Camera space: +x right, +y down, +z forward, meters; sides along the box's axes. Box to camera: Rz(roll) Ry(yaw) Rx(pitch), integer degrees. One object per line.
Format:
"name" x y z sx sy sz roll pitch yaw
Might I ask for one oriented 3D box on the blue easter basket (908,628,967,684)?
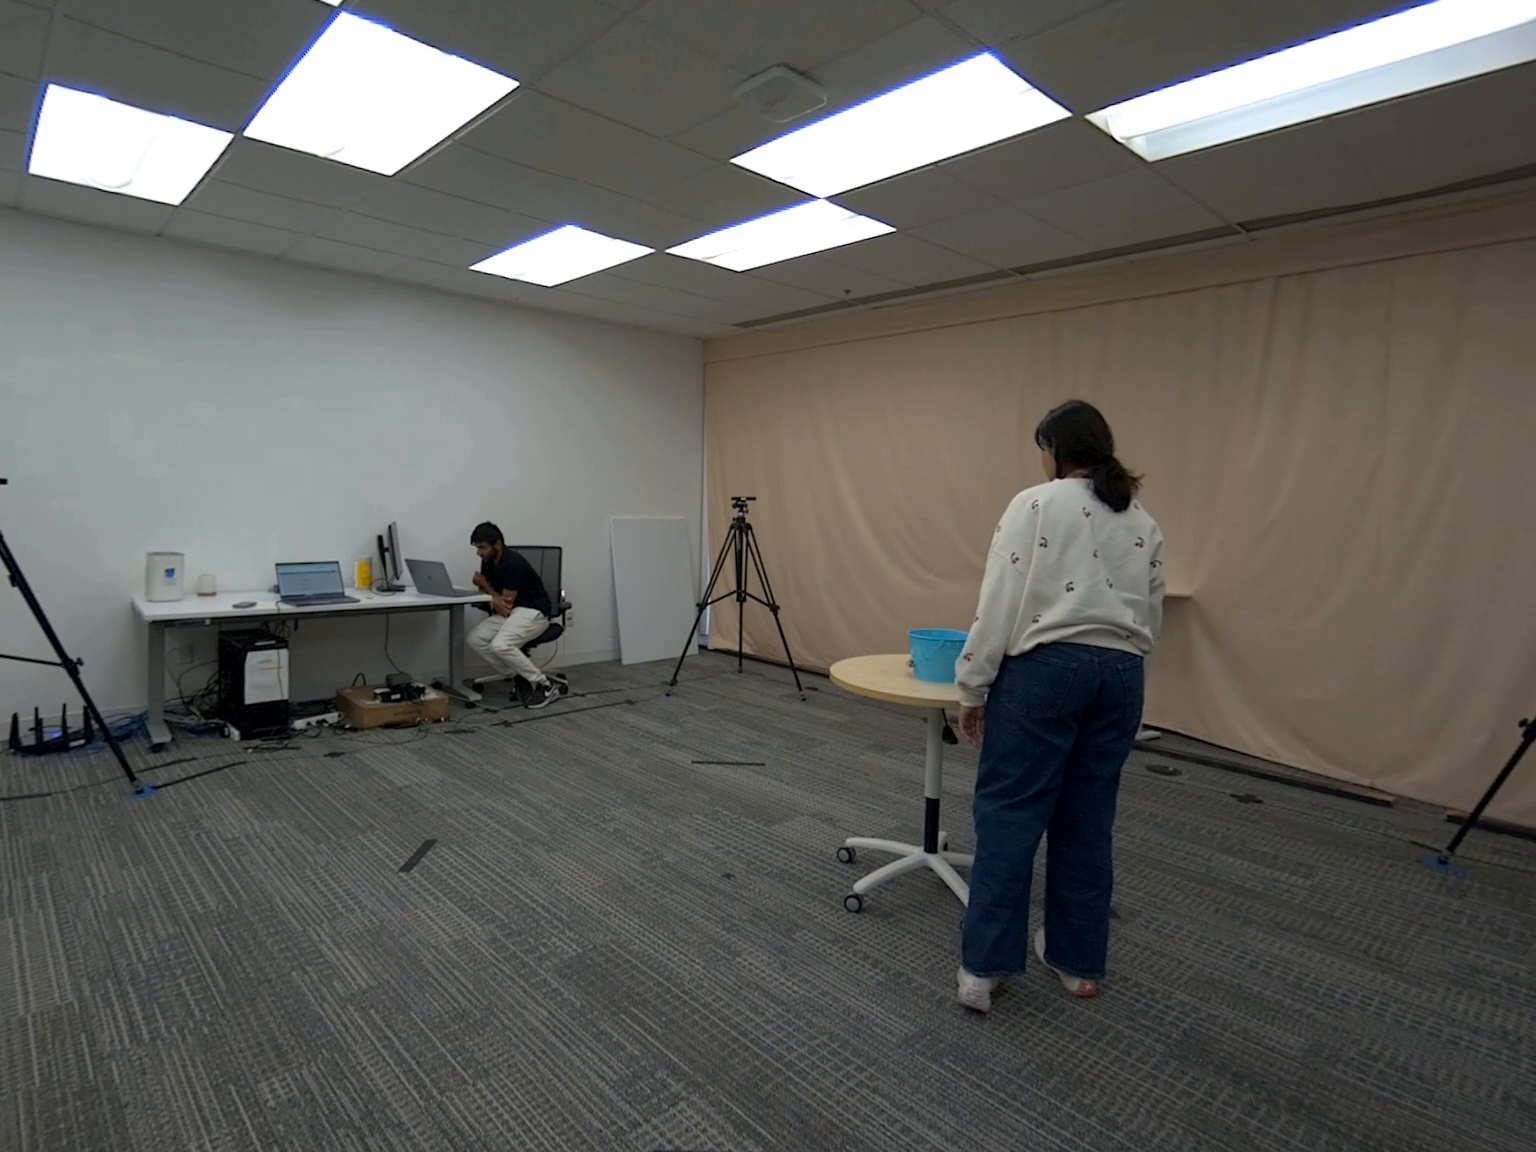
"blue easter basket" 0.609 0.285 2.965 0.243 0.155 0.244 3 5 -2
